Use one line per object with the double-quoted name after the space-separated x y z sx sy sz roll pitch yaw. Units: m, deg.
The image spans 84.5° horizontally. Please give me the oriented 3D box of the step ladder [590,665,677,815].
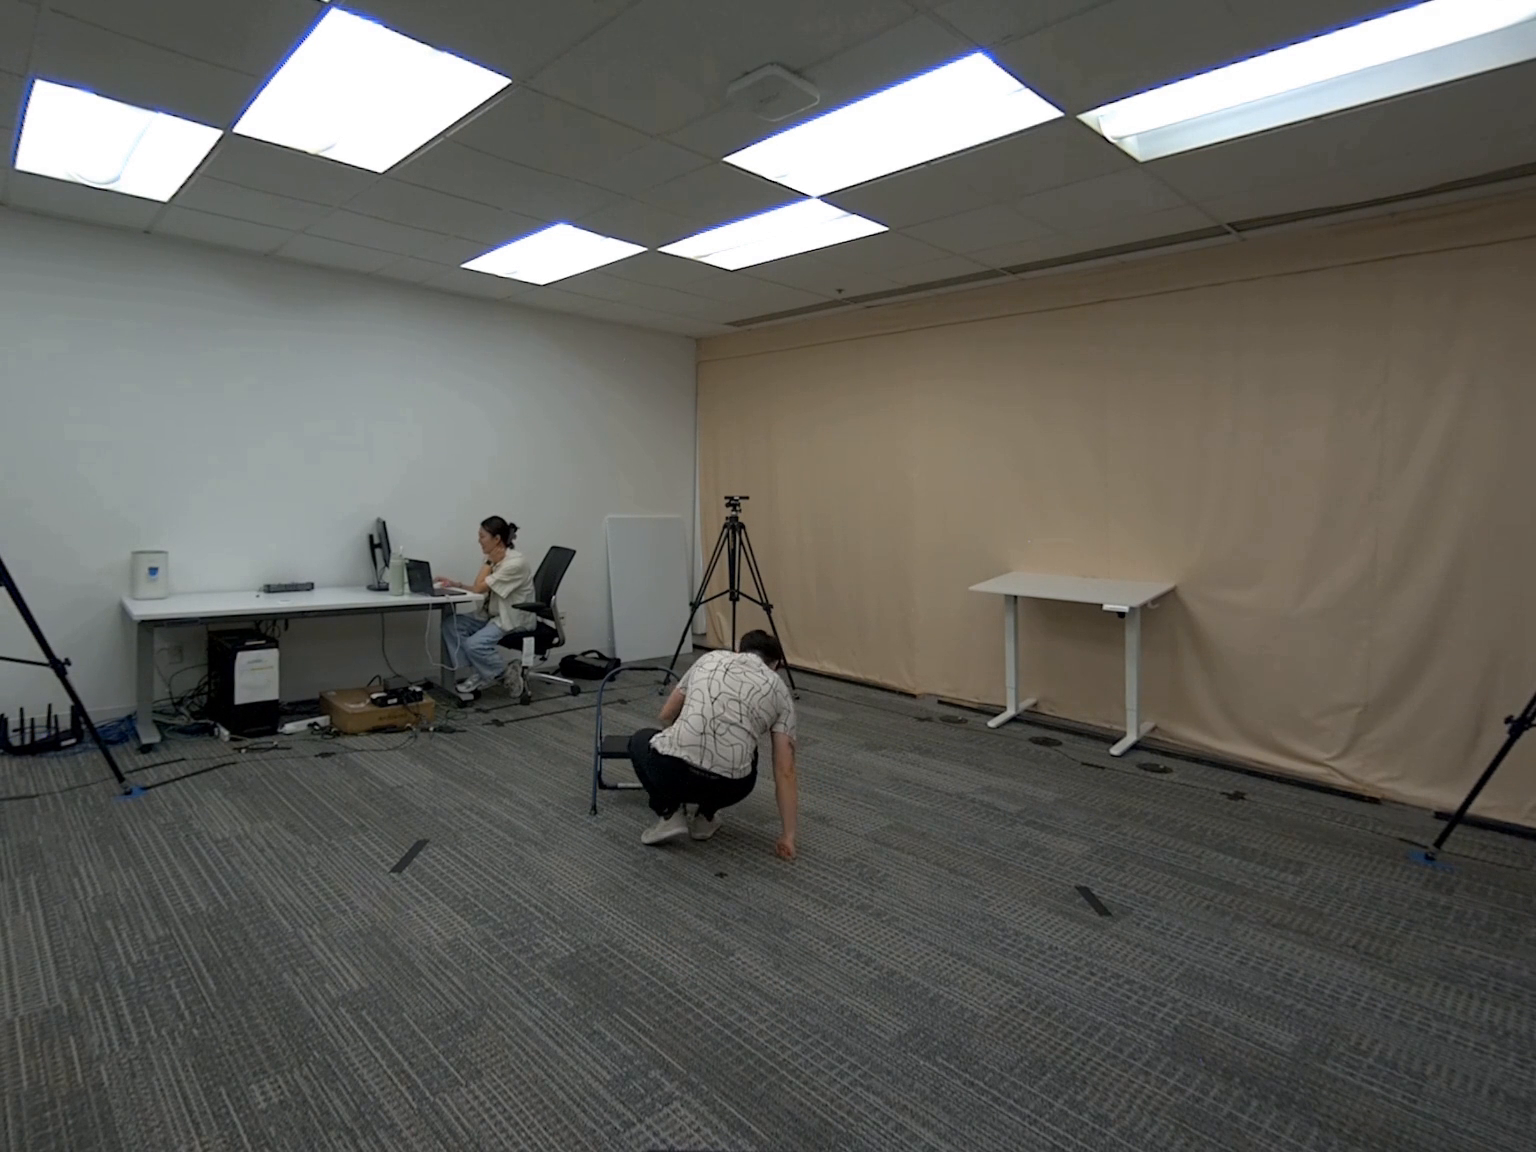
-0.586 0.729 3.838 0.429 0.604 0.351 1 4 -5 "step ladder"
